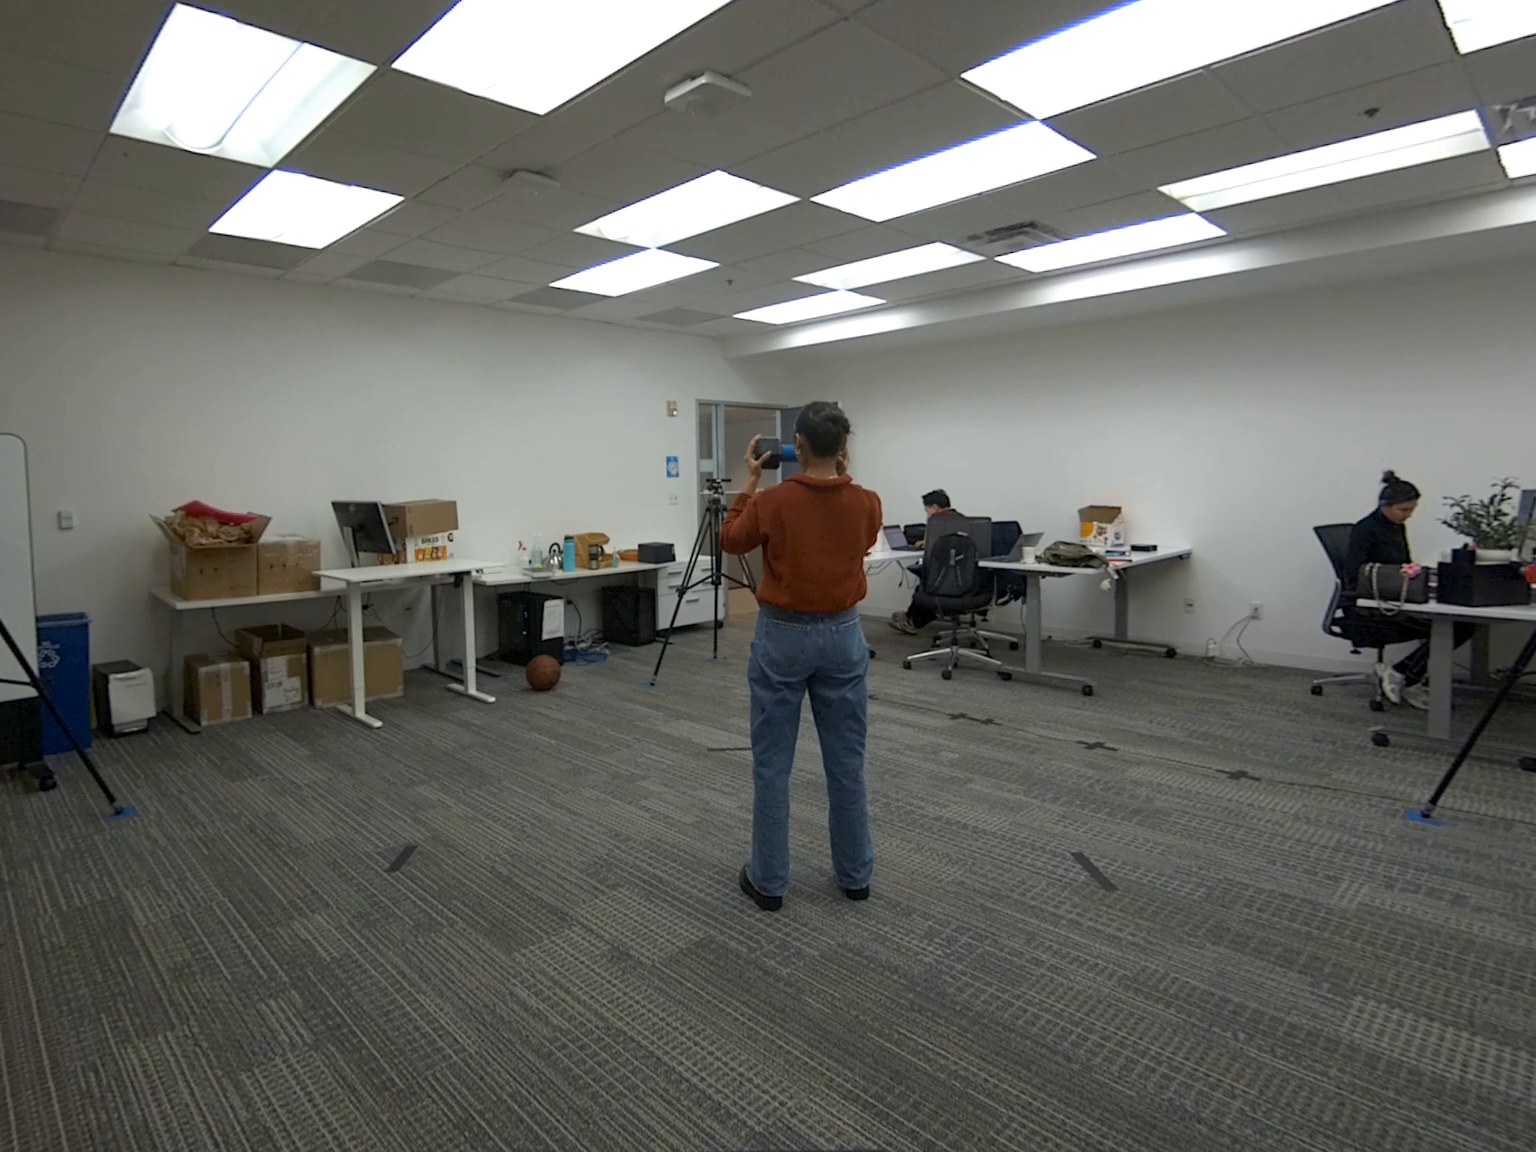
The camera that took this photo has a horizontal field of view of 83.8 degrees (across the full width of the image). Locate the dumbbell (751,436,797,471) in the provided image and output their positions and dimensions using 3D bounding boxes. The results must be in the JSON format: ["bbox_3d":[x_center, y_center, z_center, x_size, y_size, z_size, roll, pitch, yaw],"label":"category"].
[{"bbox_3d":[0.111,-0.422,2.929,0.291,0.120,0.112,1,43,-8],"label":"dumbbell"}]
